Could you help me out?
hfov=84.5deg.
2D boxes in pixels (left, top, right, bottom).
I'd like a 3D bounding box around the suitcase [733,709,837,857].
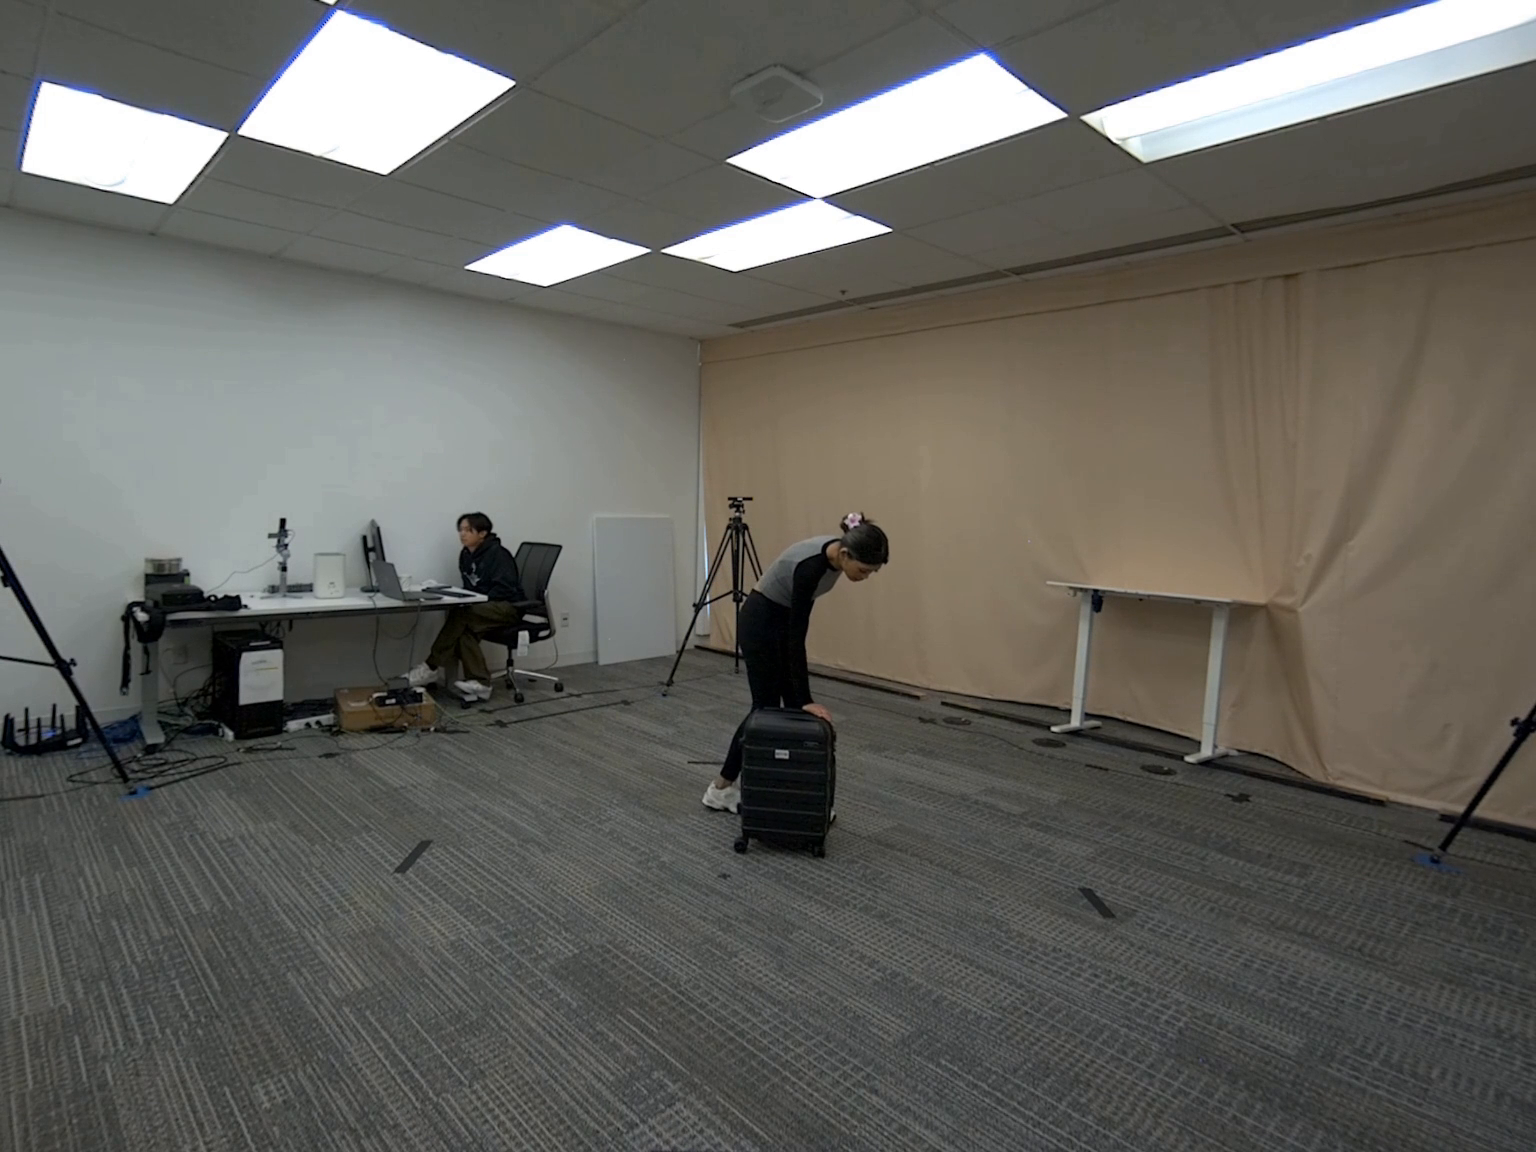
[{"bbox_3d":[0.070,0.808,3.388,0.378,0.547,0.247,3,5,10],"label":"suitcase"}]
